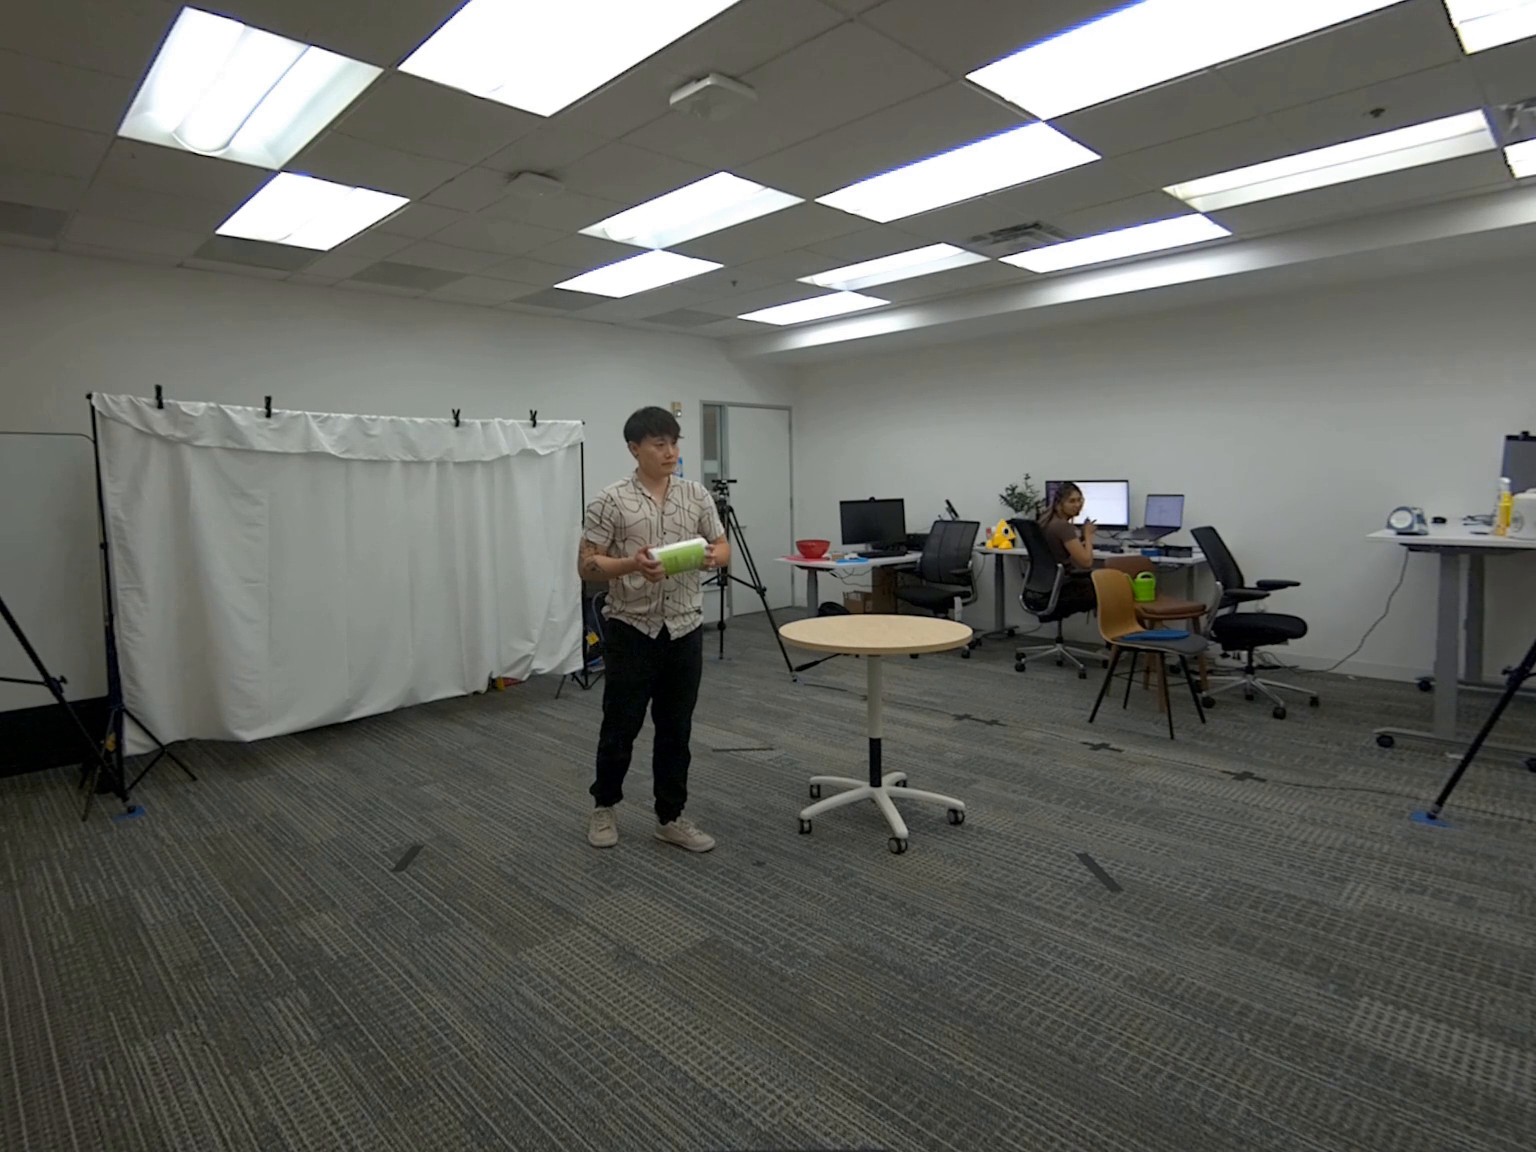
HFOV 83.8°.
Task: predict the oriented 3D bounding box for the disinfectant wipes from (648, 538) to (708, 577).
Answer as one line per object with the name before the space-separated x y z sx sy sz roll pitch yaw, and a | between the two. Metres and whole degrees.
disinfectant wipes | -0.338 -0.060 3.036 0.213 0.116 0.121 -19 14 -35
